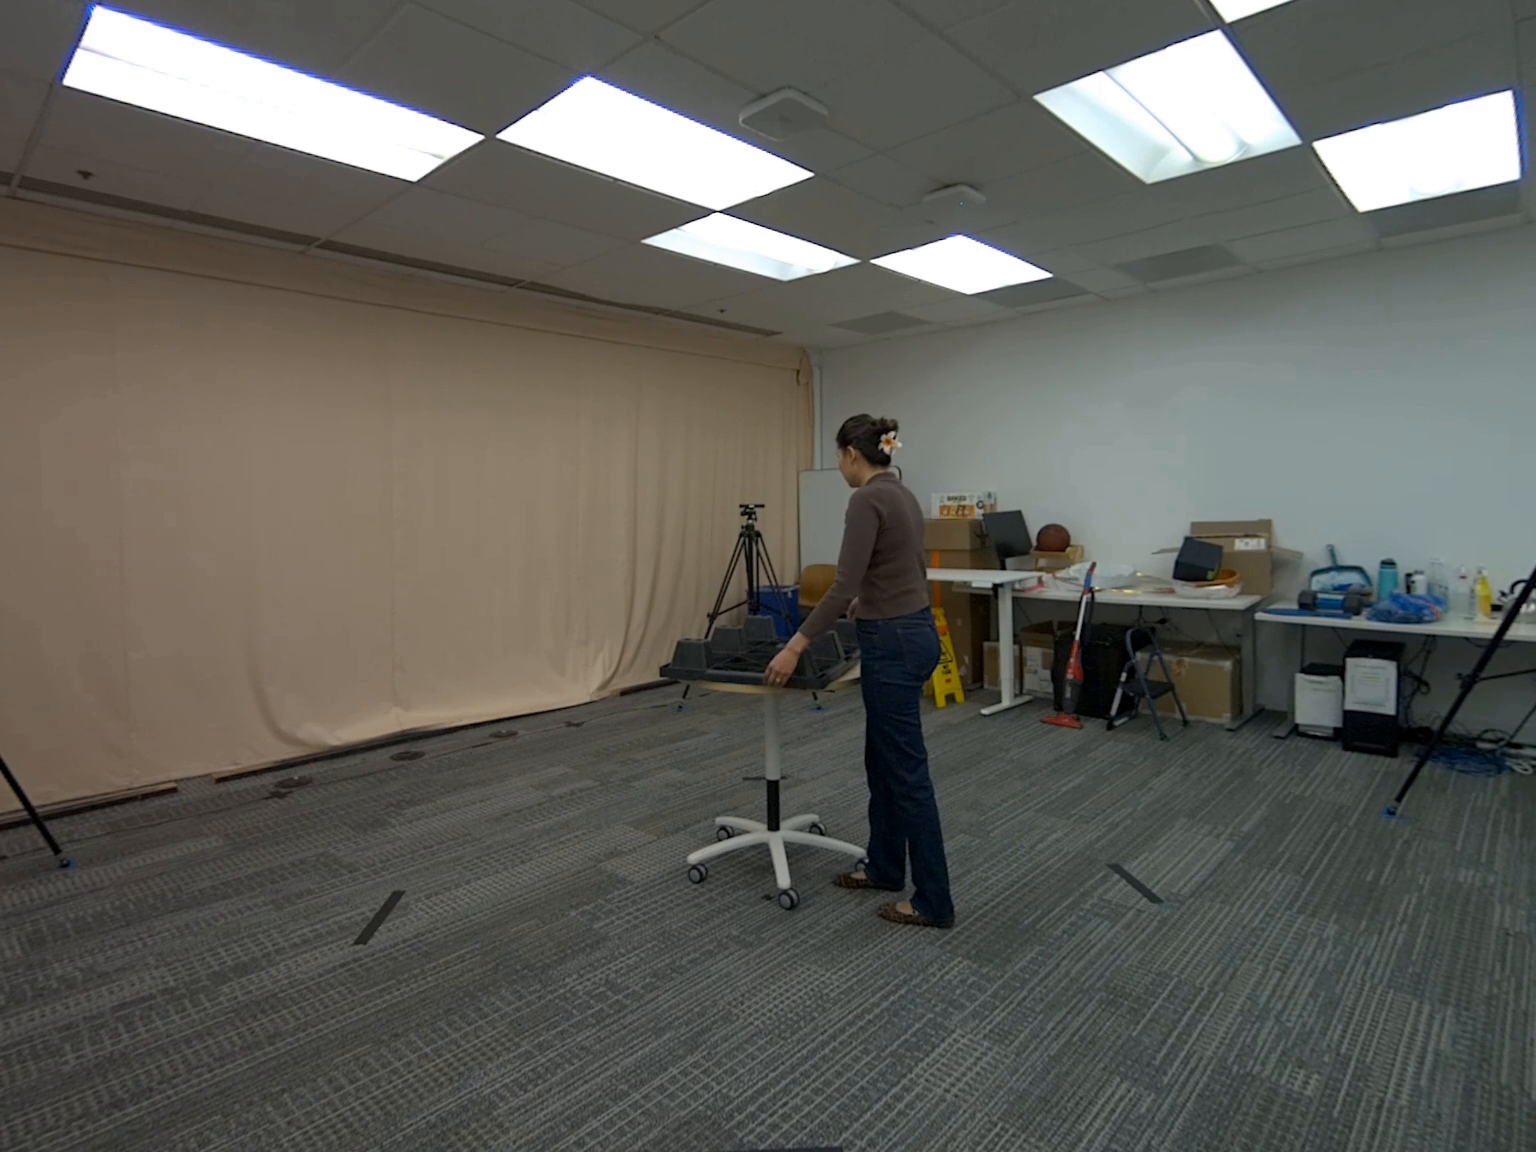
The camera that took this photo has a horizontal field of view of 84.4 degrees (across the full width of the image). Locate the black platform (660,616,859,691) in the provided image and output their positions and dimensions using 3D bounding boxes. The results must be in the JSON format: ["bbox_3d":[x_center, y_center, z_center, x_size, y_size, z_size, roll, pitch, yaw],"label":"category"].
[{"bbox_3d":[0.033,0.273,3.207,0.619,0.143,0.789,1,5,21],"label":"black platform"}]
